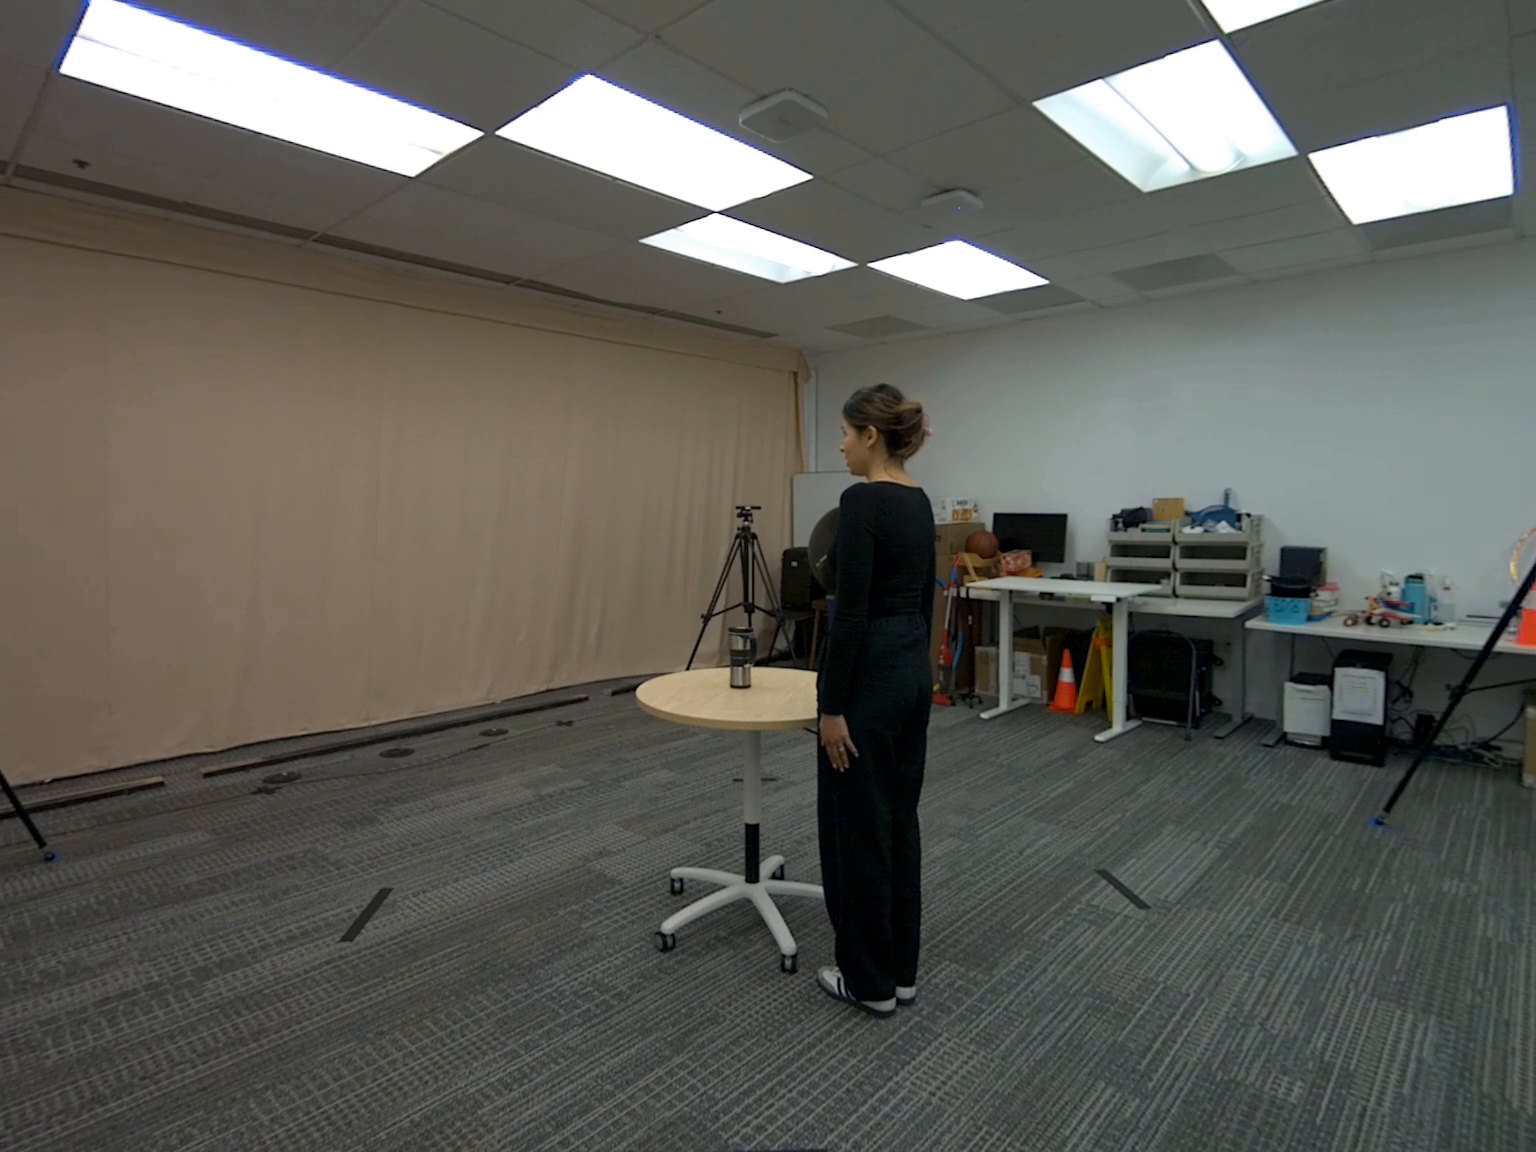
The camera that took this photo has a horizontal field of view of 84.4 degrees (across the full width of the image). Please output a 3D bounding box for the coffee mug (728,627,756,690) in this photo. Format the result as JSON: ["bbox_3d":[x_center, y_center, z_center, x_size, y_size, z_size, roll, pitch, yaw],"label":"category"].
[{"bbox_3d":[-0.093,0.277,2.804,0.089,0.202,0.120,5,3,10],"label":"coffee mug"}]
